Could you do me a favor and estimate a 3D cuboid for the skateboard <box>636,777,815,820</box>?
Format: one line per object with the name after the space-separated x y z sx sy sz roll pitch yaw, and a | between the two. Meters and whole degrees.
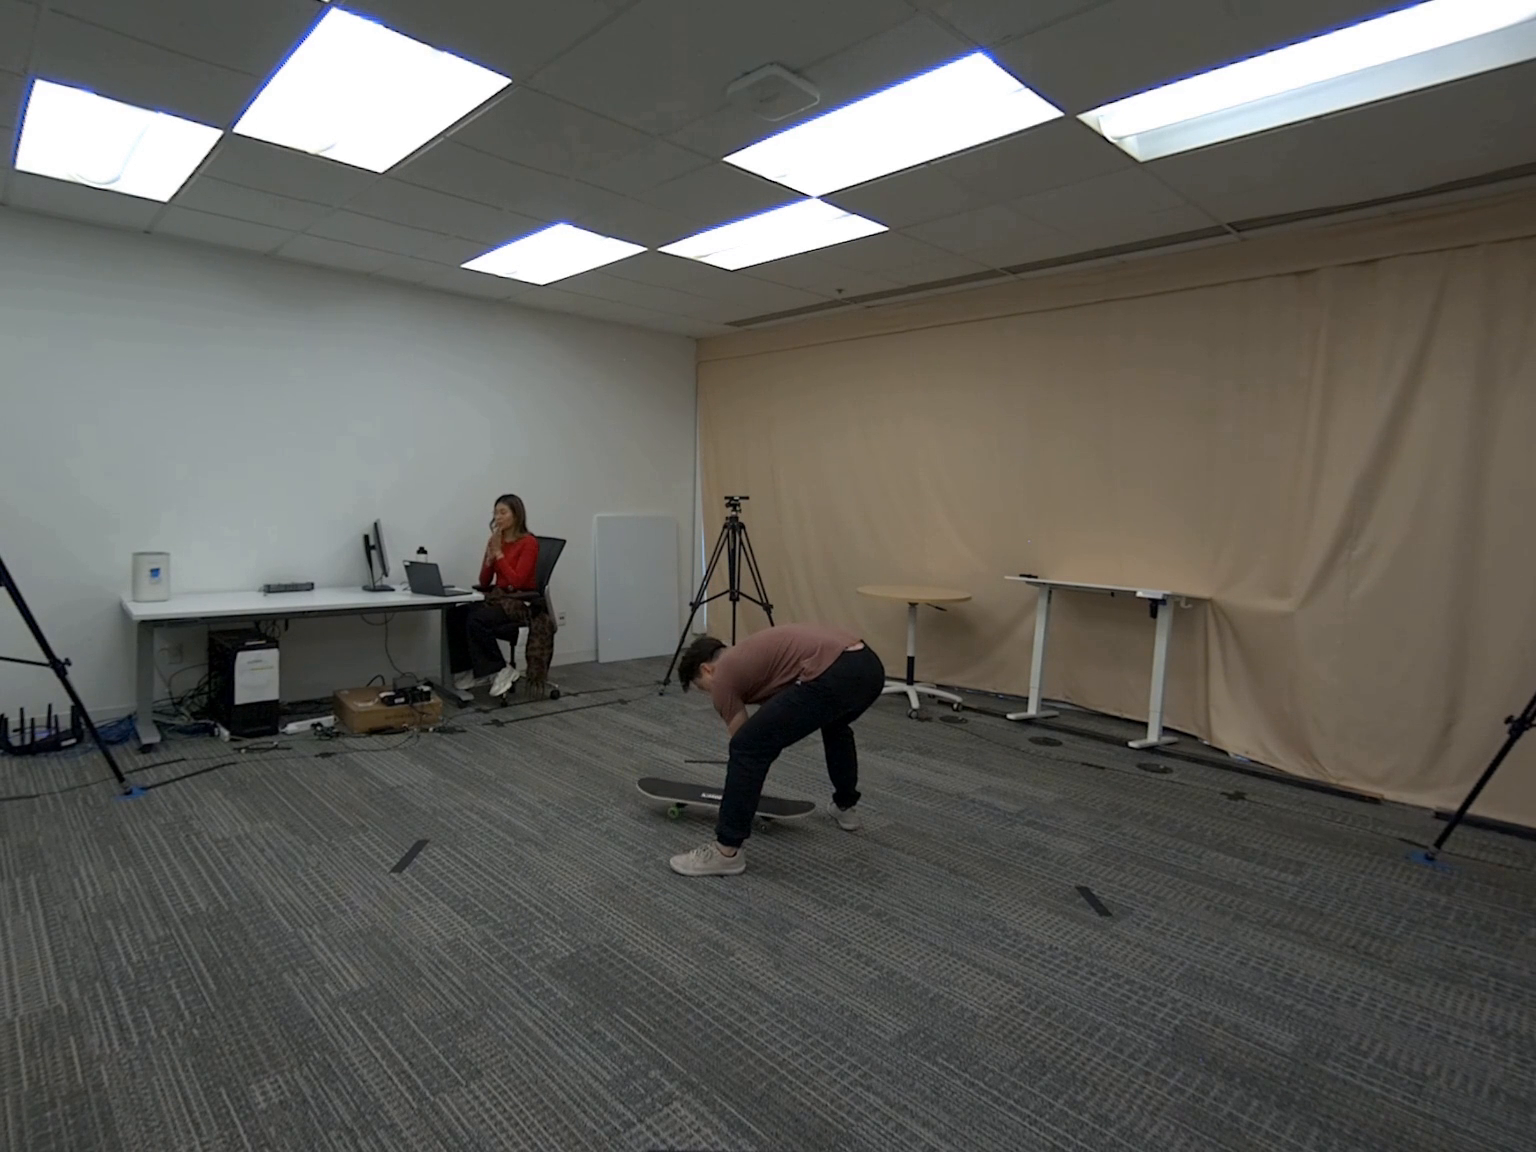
-0.202 0.984 3.604 0.795 0.110 0.192 4 7 14 | skateboard
